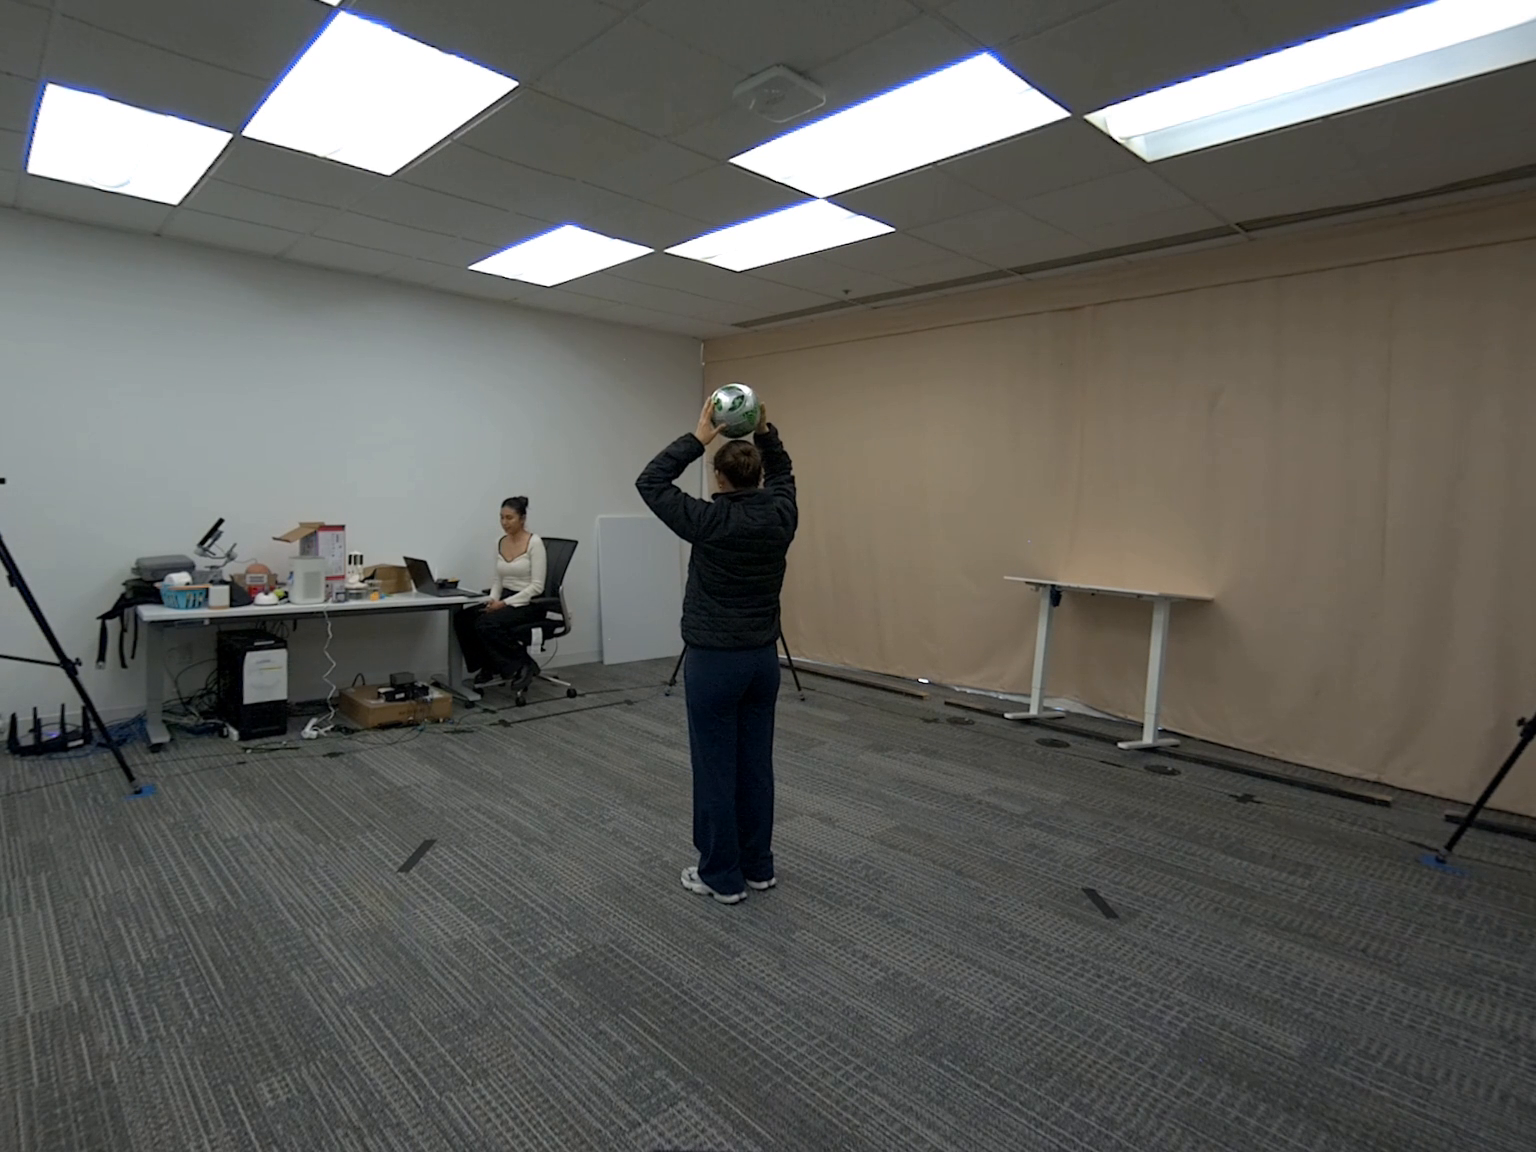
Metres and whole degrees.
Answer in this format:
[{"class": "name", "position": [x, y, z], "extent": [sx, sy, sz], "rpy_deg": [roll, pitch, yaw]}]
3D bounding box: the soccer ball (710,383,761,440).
[{"class": "soccer ball", "position": [-0.122, -0.569, 2.925], "extent": [0.187, 0.187, 0.188], "rpy_deg": [1, 4, -1]}]
